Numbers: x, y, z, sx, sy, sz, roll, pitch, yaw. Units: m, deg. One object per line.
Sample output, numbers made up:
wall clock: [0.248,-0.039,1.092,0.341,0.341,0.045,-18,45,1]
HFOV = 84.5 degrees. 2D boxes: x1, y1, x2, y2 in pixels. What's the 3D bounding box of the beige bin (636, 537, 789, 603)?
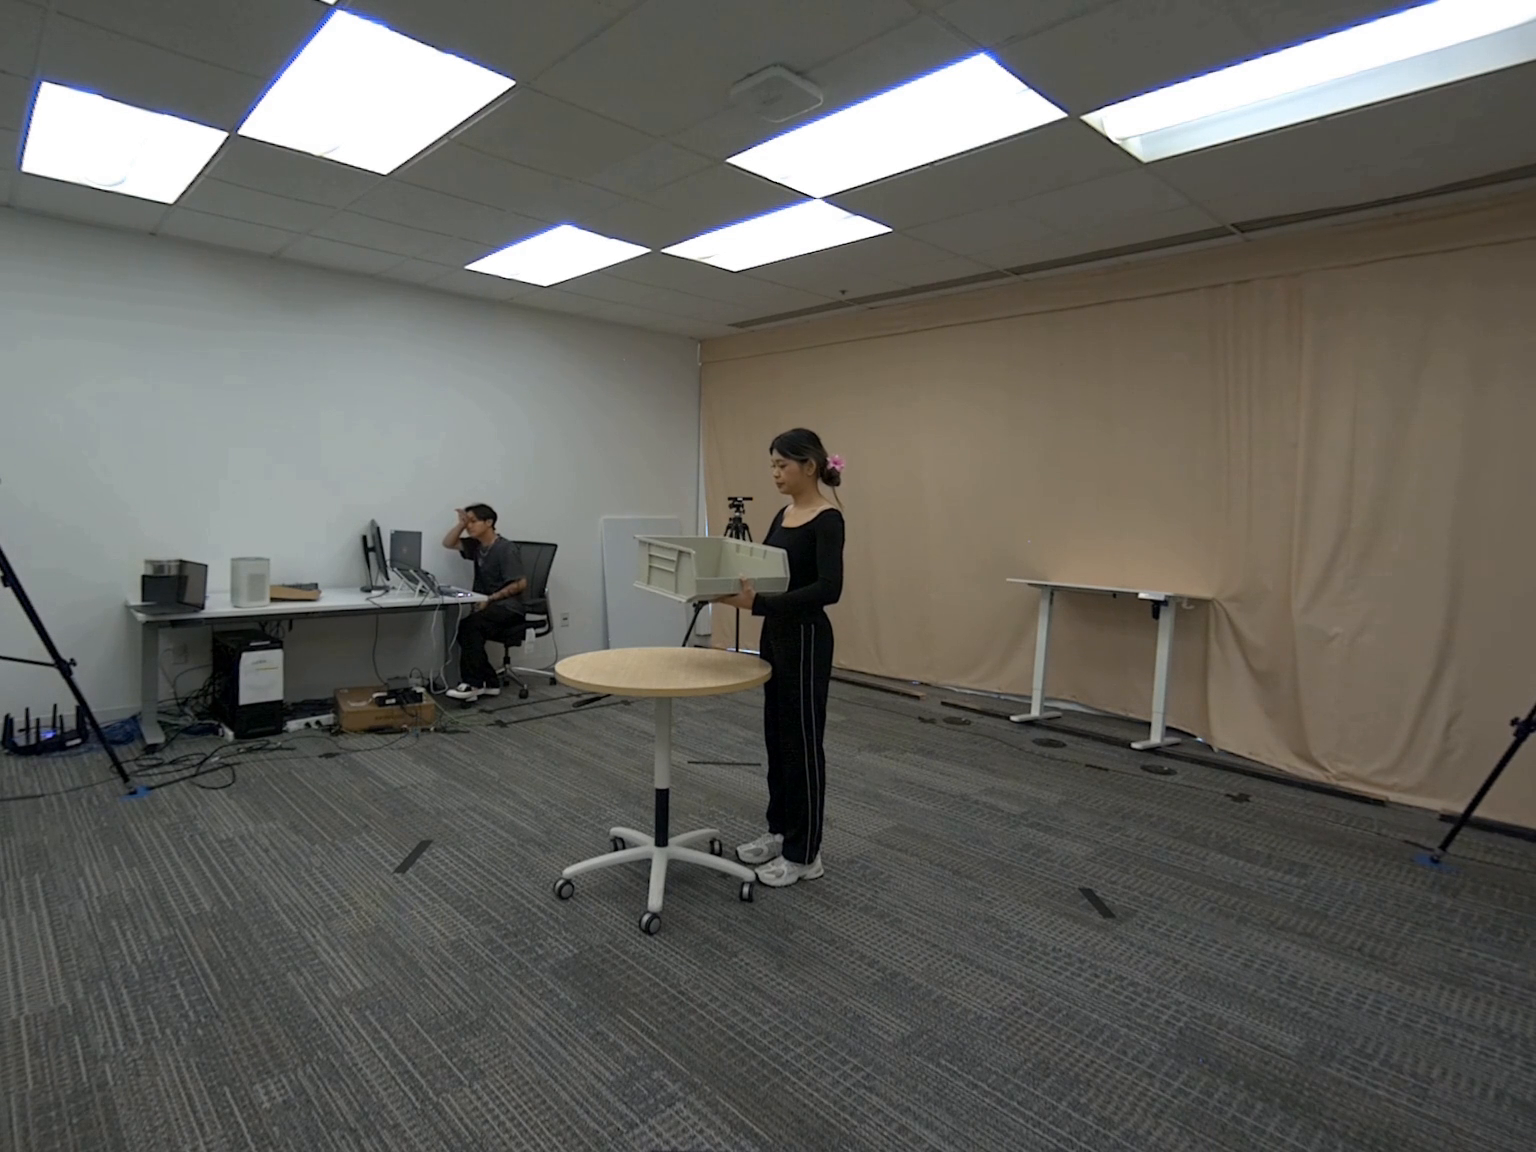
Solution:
beige bin: [-0.207,-0.022,2.960,0.413,0.188,0.388,-2,10,-40]
